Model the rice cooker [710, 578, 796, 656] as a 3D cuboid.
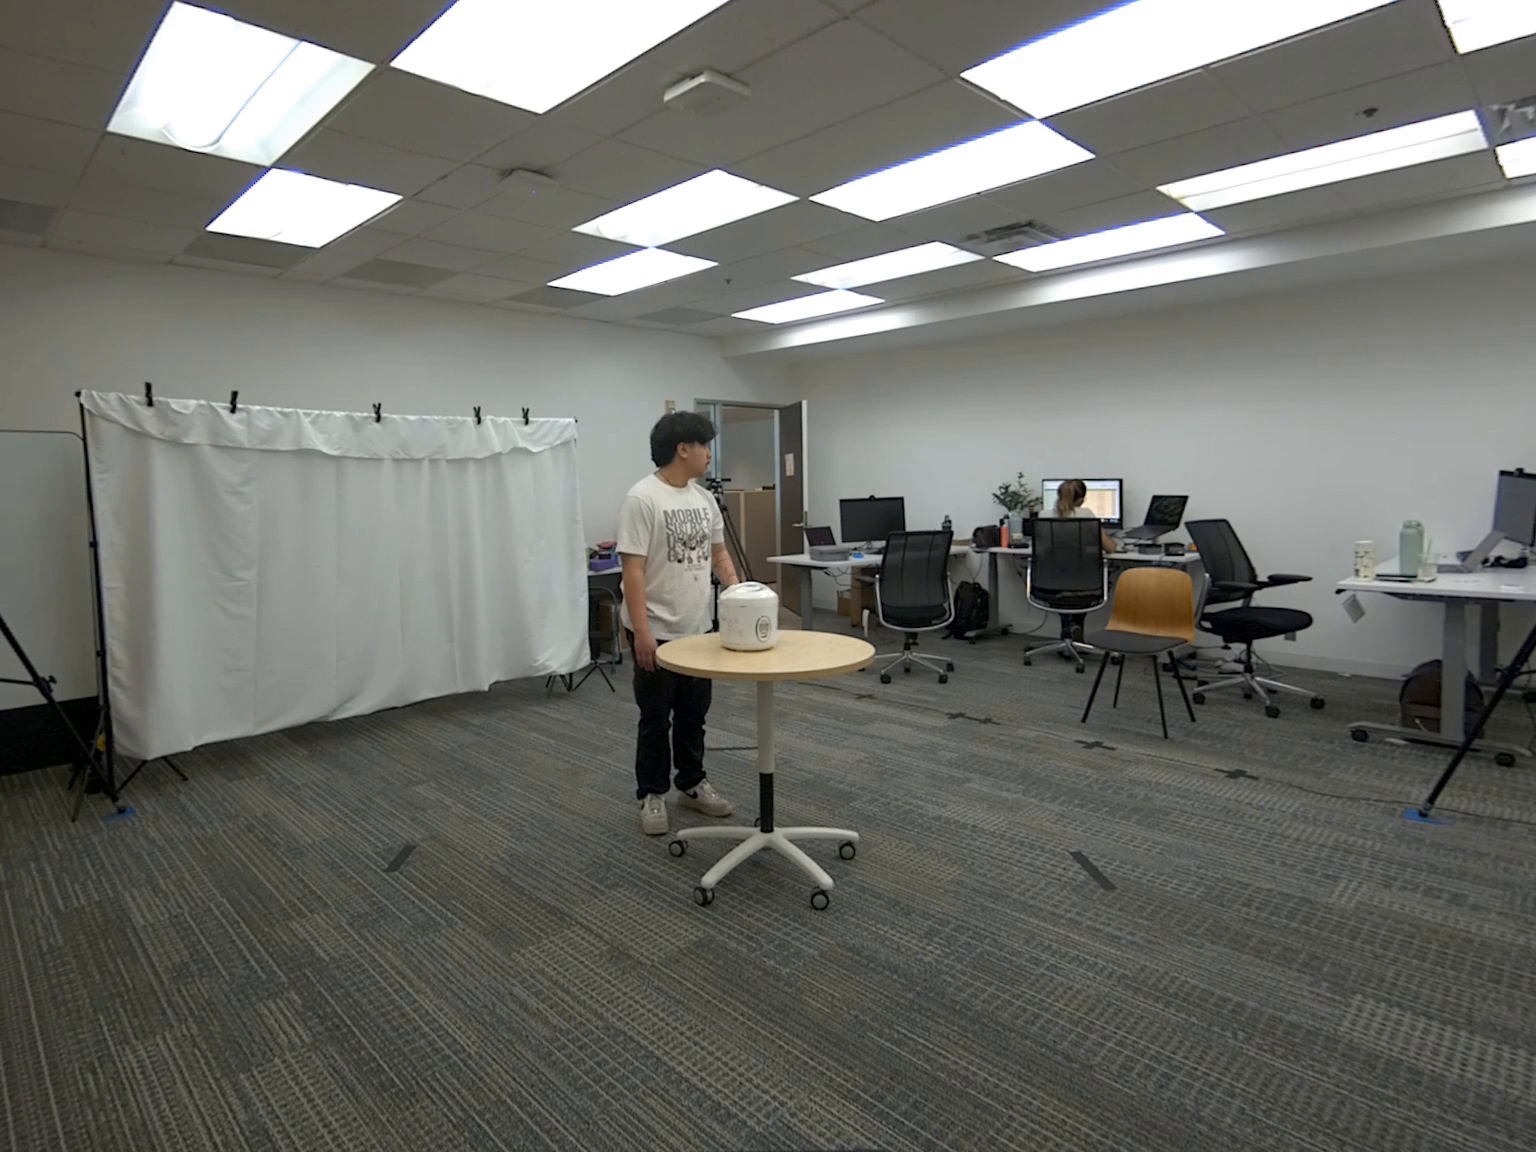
[{"bbox_3d":[-0.057,0.136,3.021,0.215,0.232,0.223,-2,4,-29],"label":"rice cooker"}]
